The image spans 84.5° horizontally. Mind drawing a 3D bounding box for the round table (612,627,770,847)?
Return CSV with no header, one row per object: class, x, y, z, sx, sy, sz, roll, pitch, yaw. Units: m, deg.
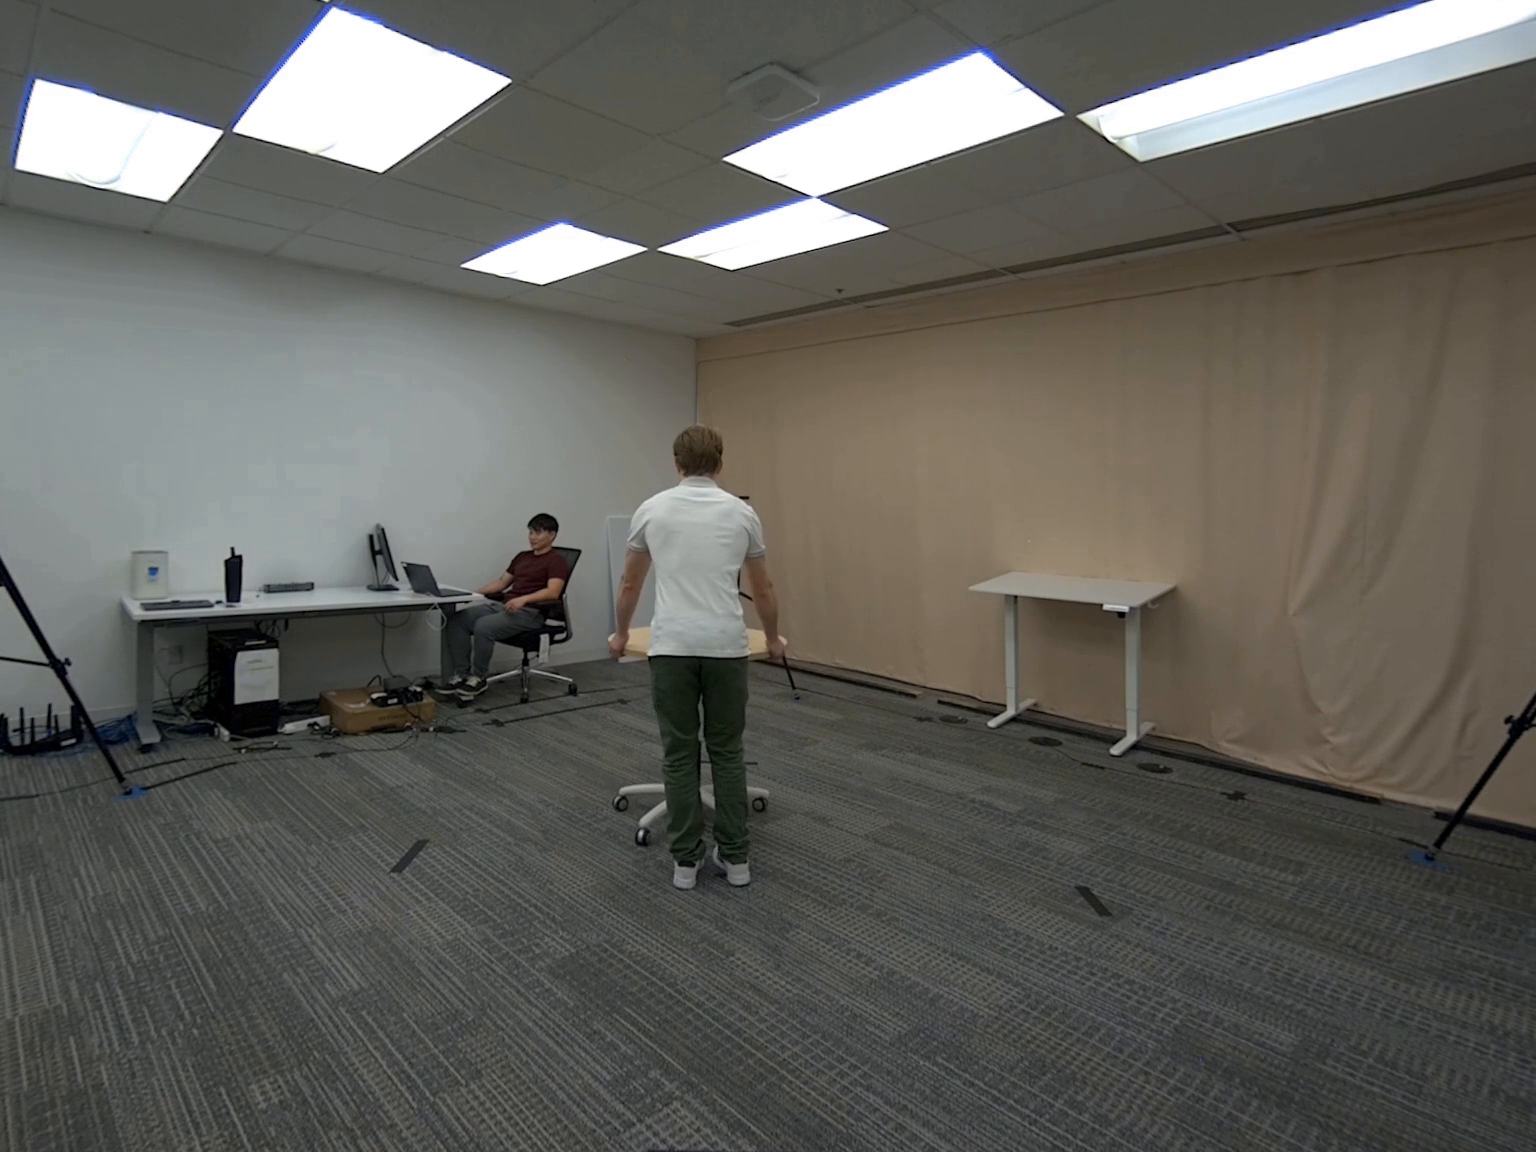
round table,-0.313,0.666,3.628,0.763,0.792,0.766,2,4,-1
